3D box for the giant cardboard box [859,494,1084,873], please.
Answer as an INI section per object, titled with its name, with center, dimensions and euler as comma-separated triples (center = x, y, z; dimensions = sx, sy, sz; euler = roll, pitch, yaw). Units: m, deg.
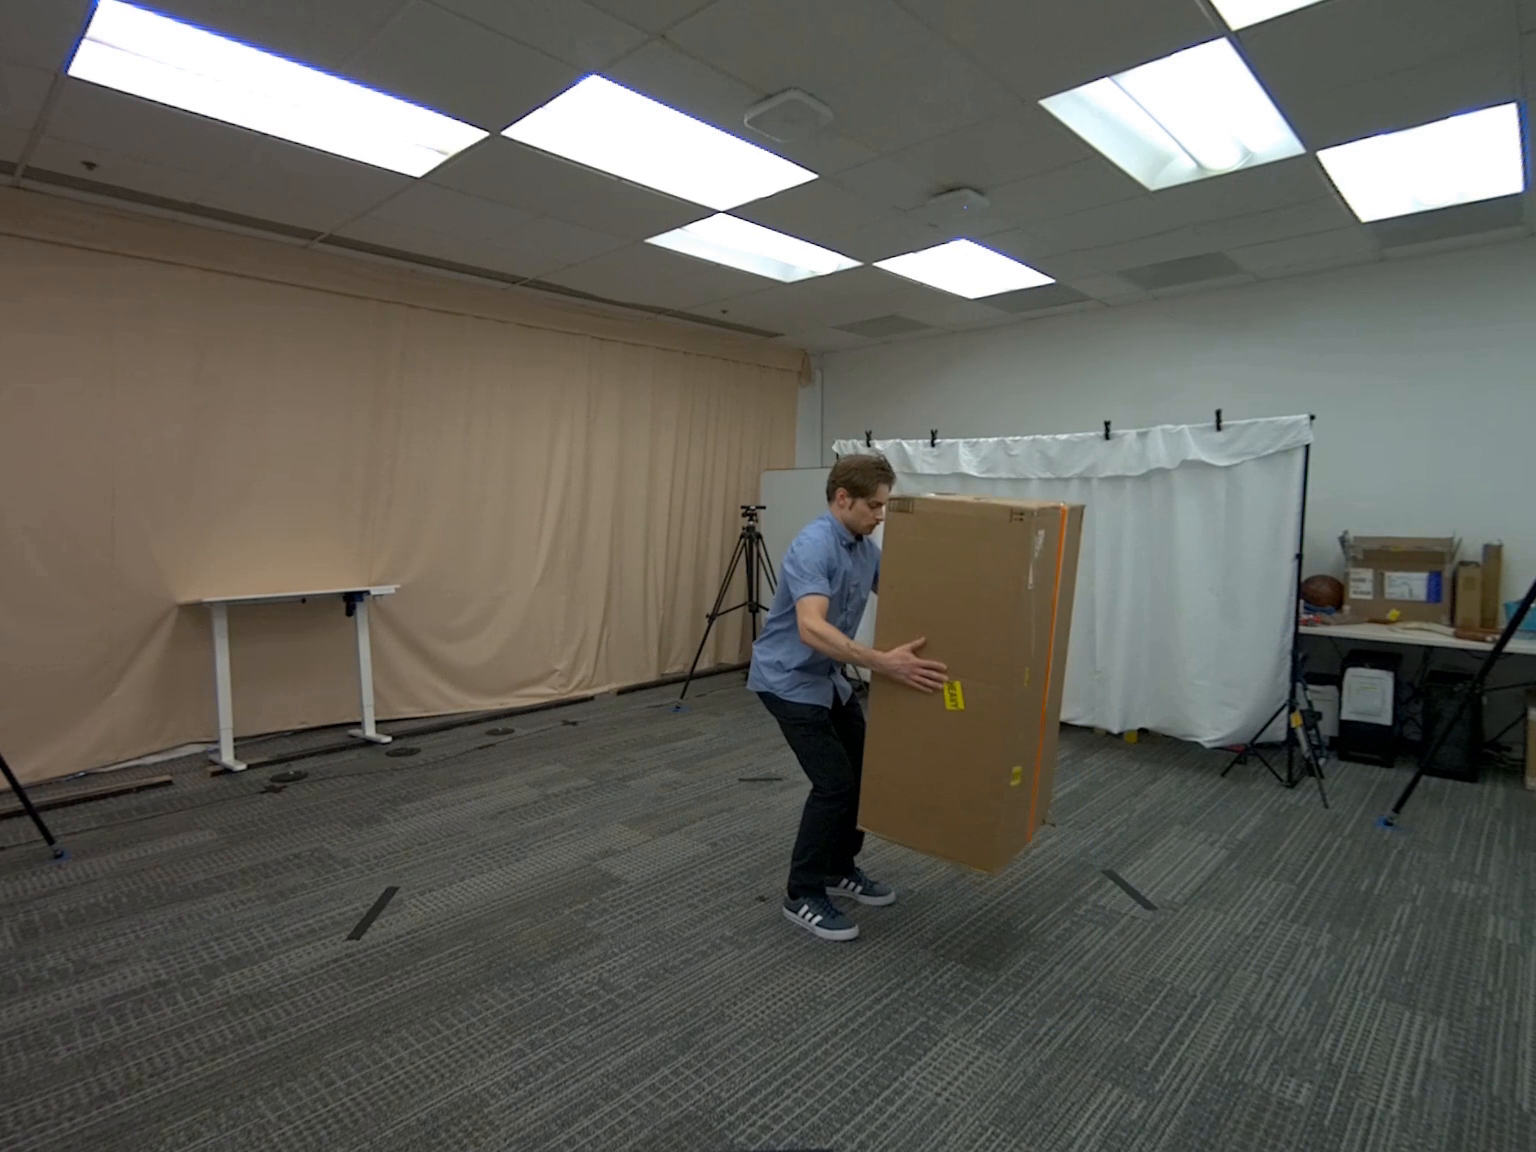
[giant cardboard box]
center = 0.645, 0.275, 2.599
dimensions = 0.440, 1.022, 0.561
euler = 8, 8, 34
